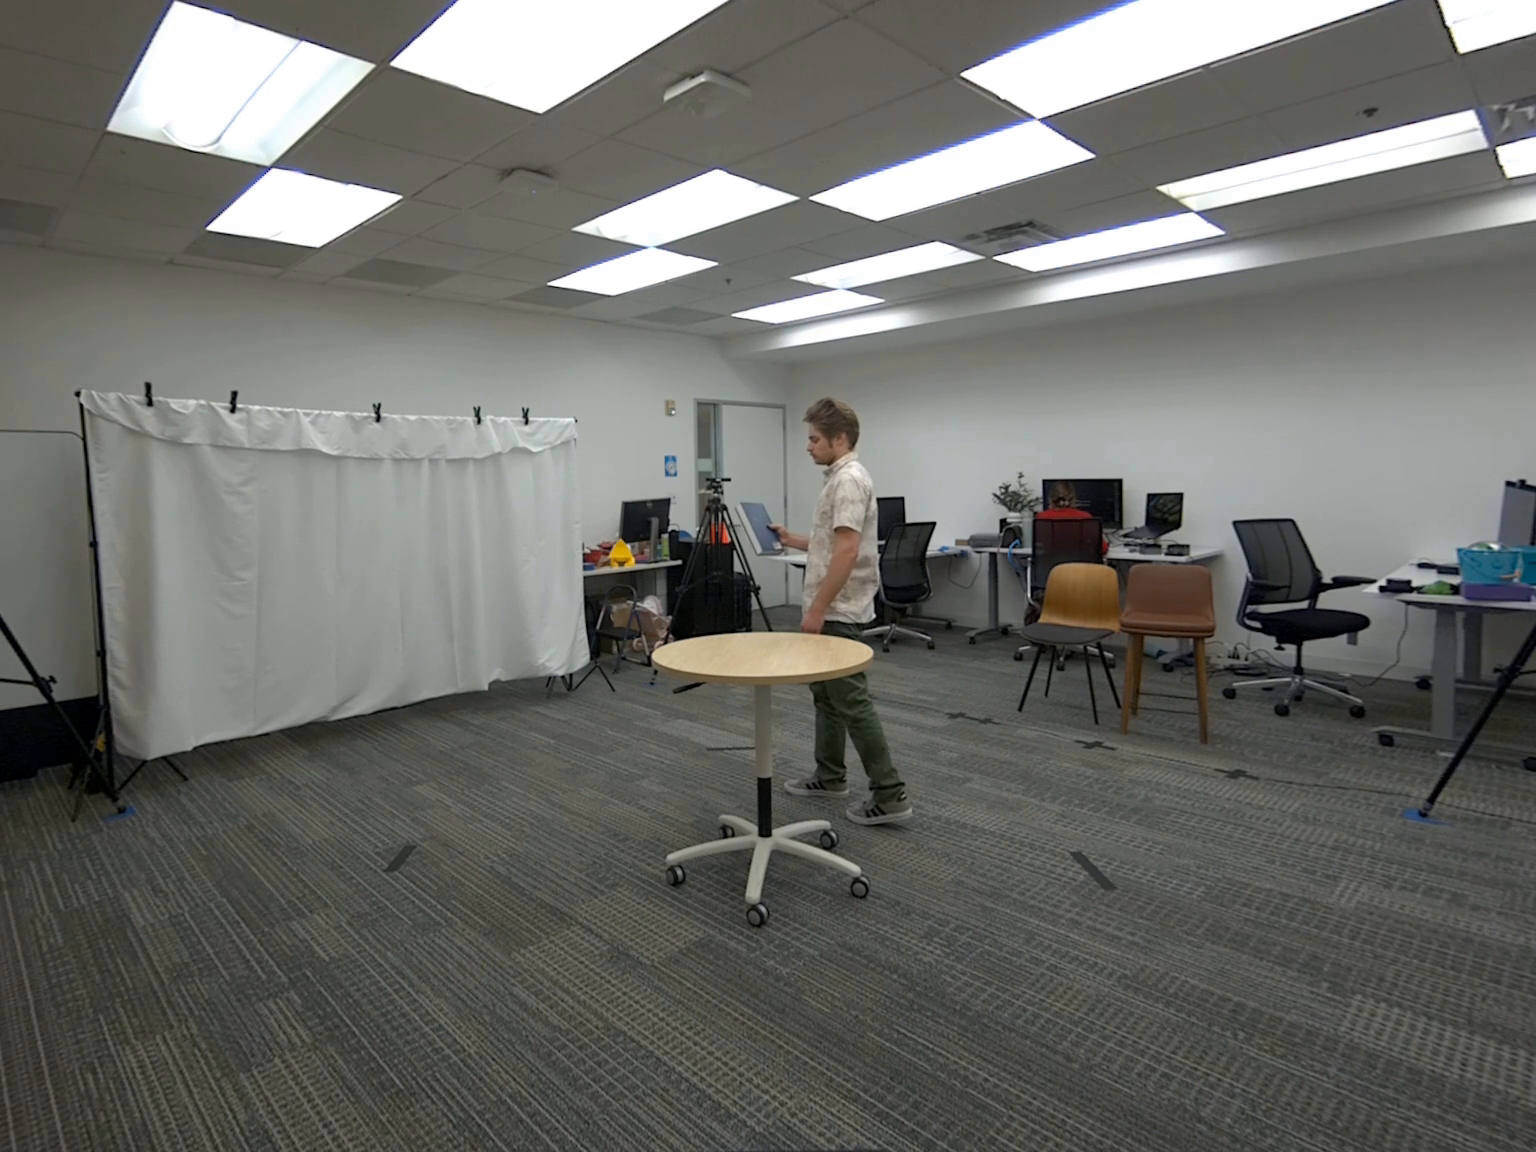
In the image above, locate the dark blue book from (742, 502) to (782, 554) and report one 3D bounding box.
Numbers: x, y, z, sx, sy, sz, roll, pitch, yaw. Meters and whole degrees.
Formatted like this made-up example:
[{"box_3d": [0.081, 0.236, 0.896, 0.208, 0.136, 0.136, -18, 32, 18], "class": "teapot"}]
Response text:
[{"box_3d": [-0.036, -0.211, 3.750, 0.045, 0.251, 0.159, -39, -23, 34], "class": "dark blue book"}]
